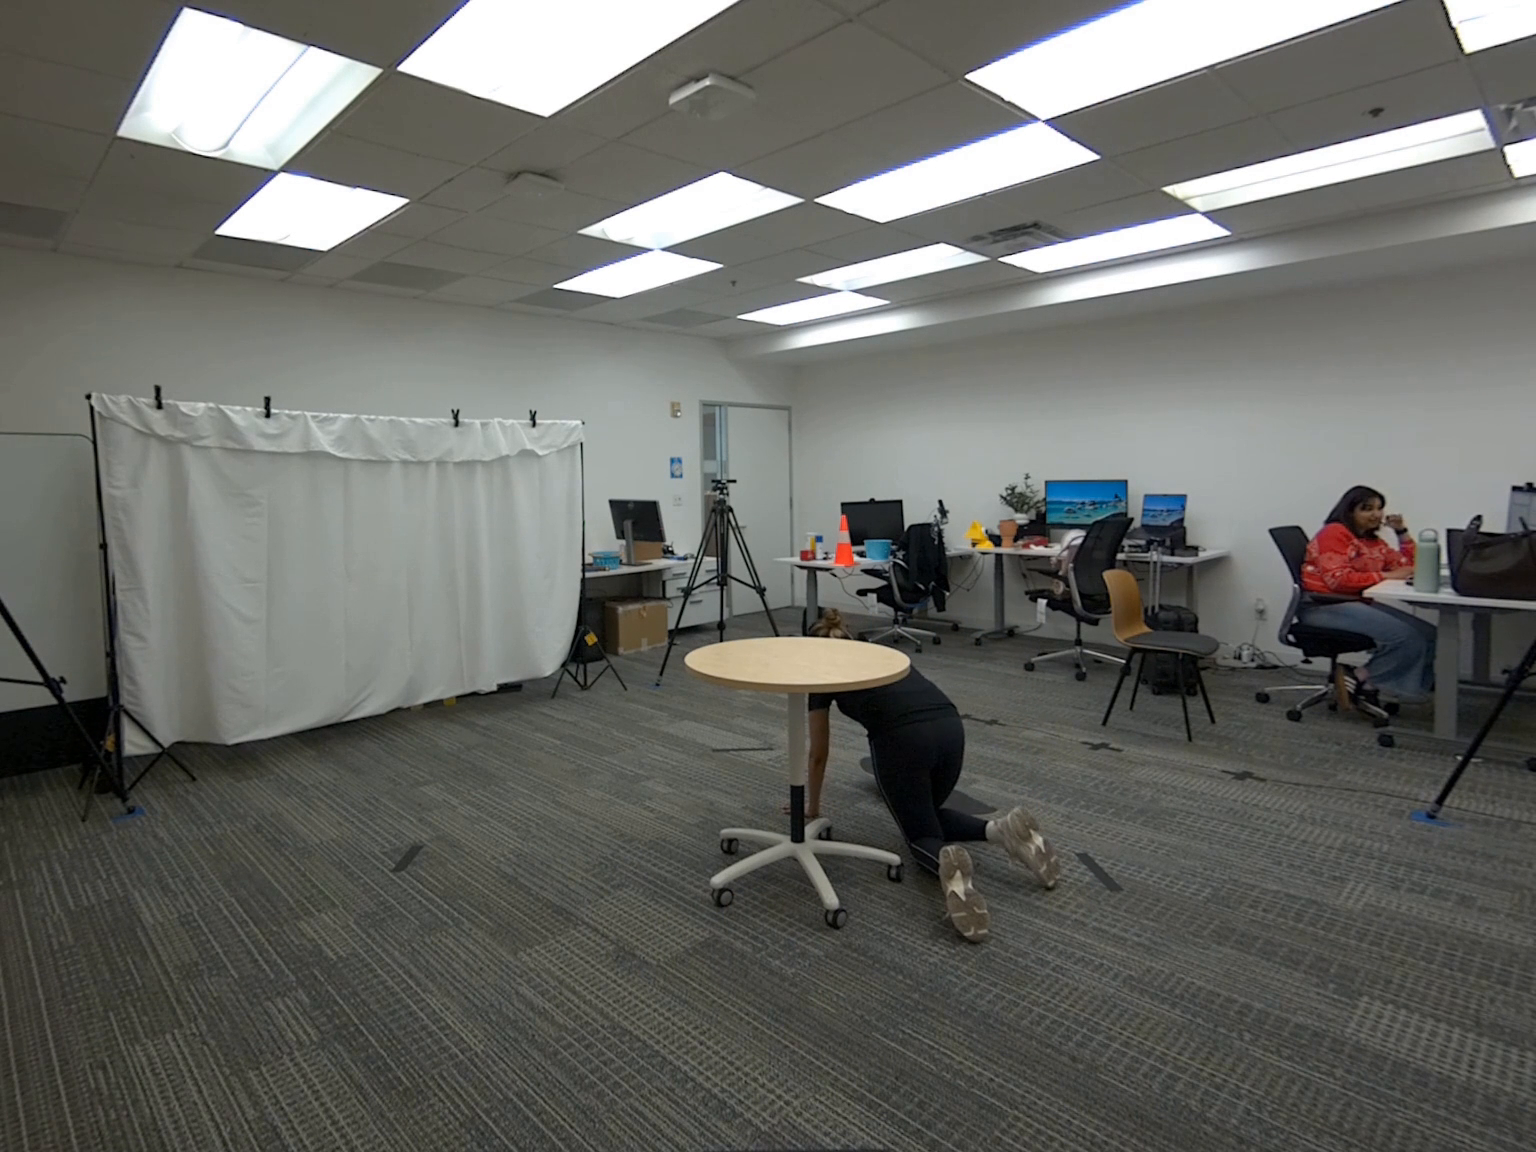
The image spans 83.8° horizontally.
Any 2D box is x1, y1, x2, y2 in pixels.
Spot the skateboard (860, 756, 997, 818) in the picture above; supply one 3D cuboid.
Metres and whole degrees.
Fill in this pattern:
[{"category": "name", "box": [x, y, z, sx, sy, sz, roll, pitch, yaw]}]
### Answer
[{"category": "skateboard", "box": [0.657, 0.922, 3.616, 0.189, 0.110, 0.807, -3, 6, -28]}]
